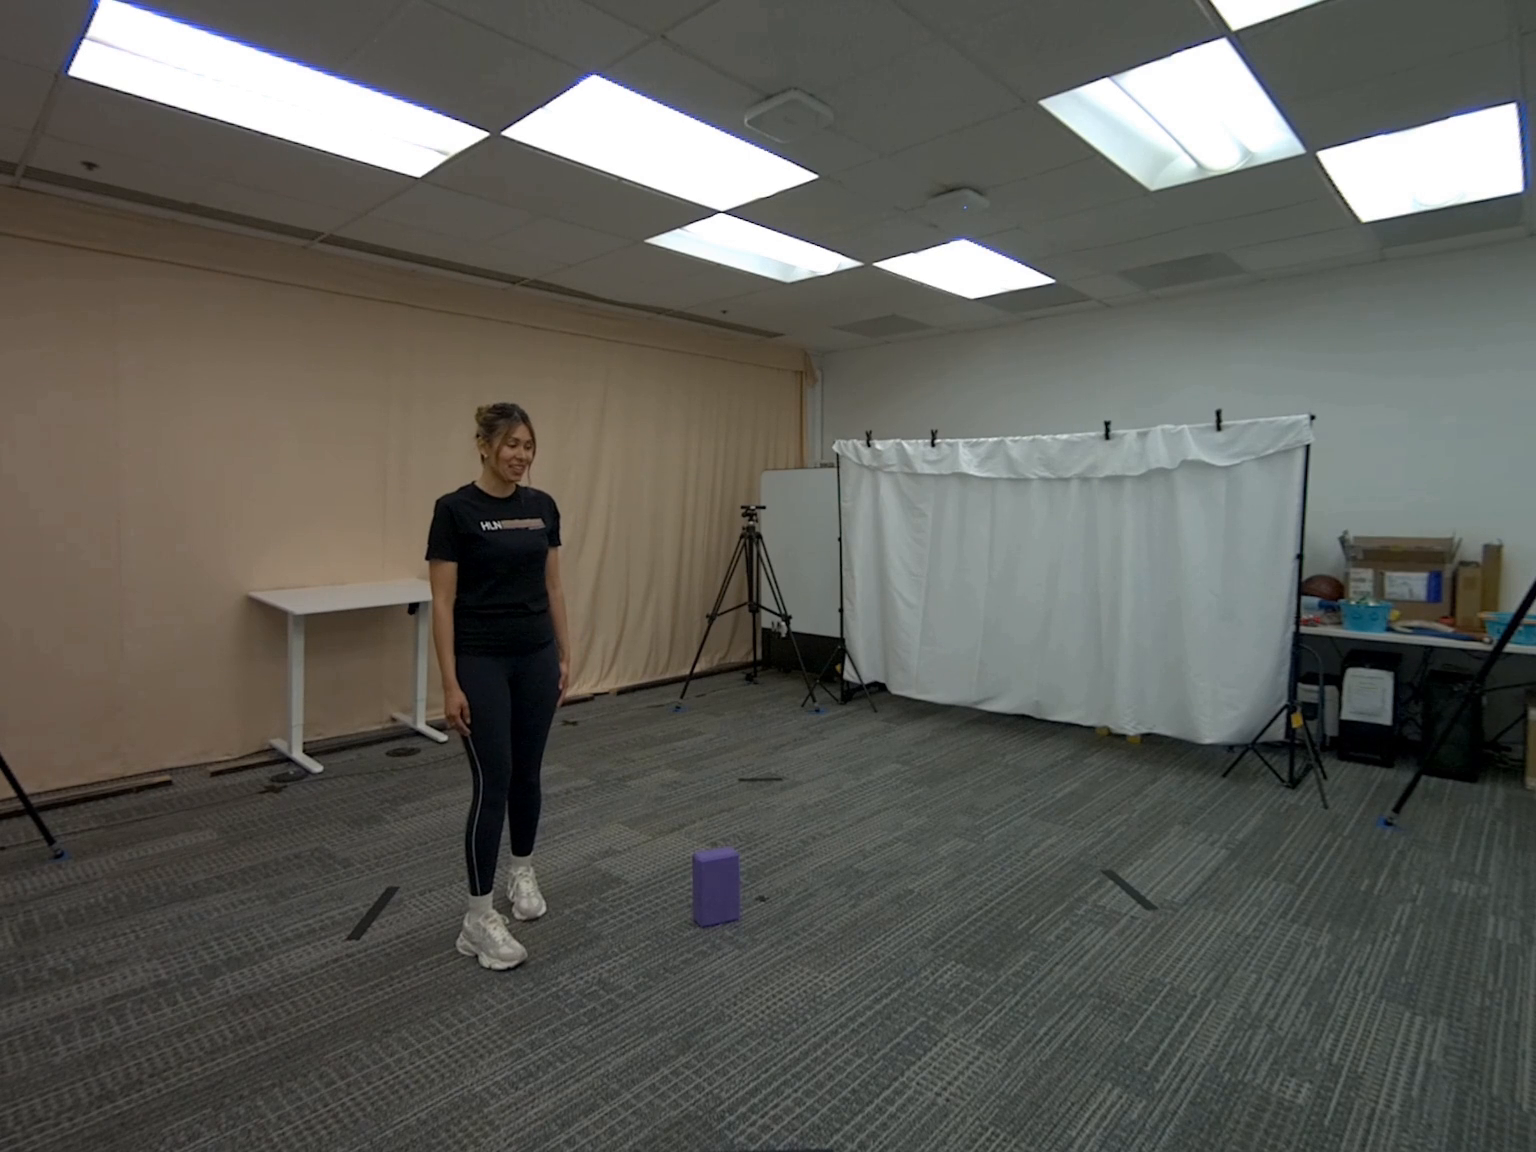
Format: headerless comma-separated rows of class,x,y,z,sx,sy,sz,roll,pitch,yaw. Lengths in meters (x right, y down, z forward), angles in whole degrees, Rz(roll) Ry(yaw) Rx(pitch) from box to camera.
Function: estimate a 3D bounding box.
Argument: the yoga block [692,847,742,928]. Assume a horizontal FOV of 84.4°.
yoga block,-0.172,1.043,2.818,0.145,0.229,0.078,-1,3,-24
